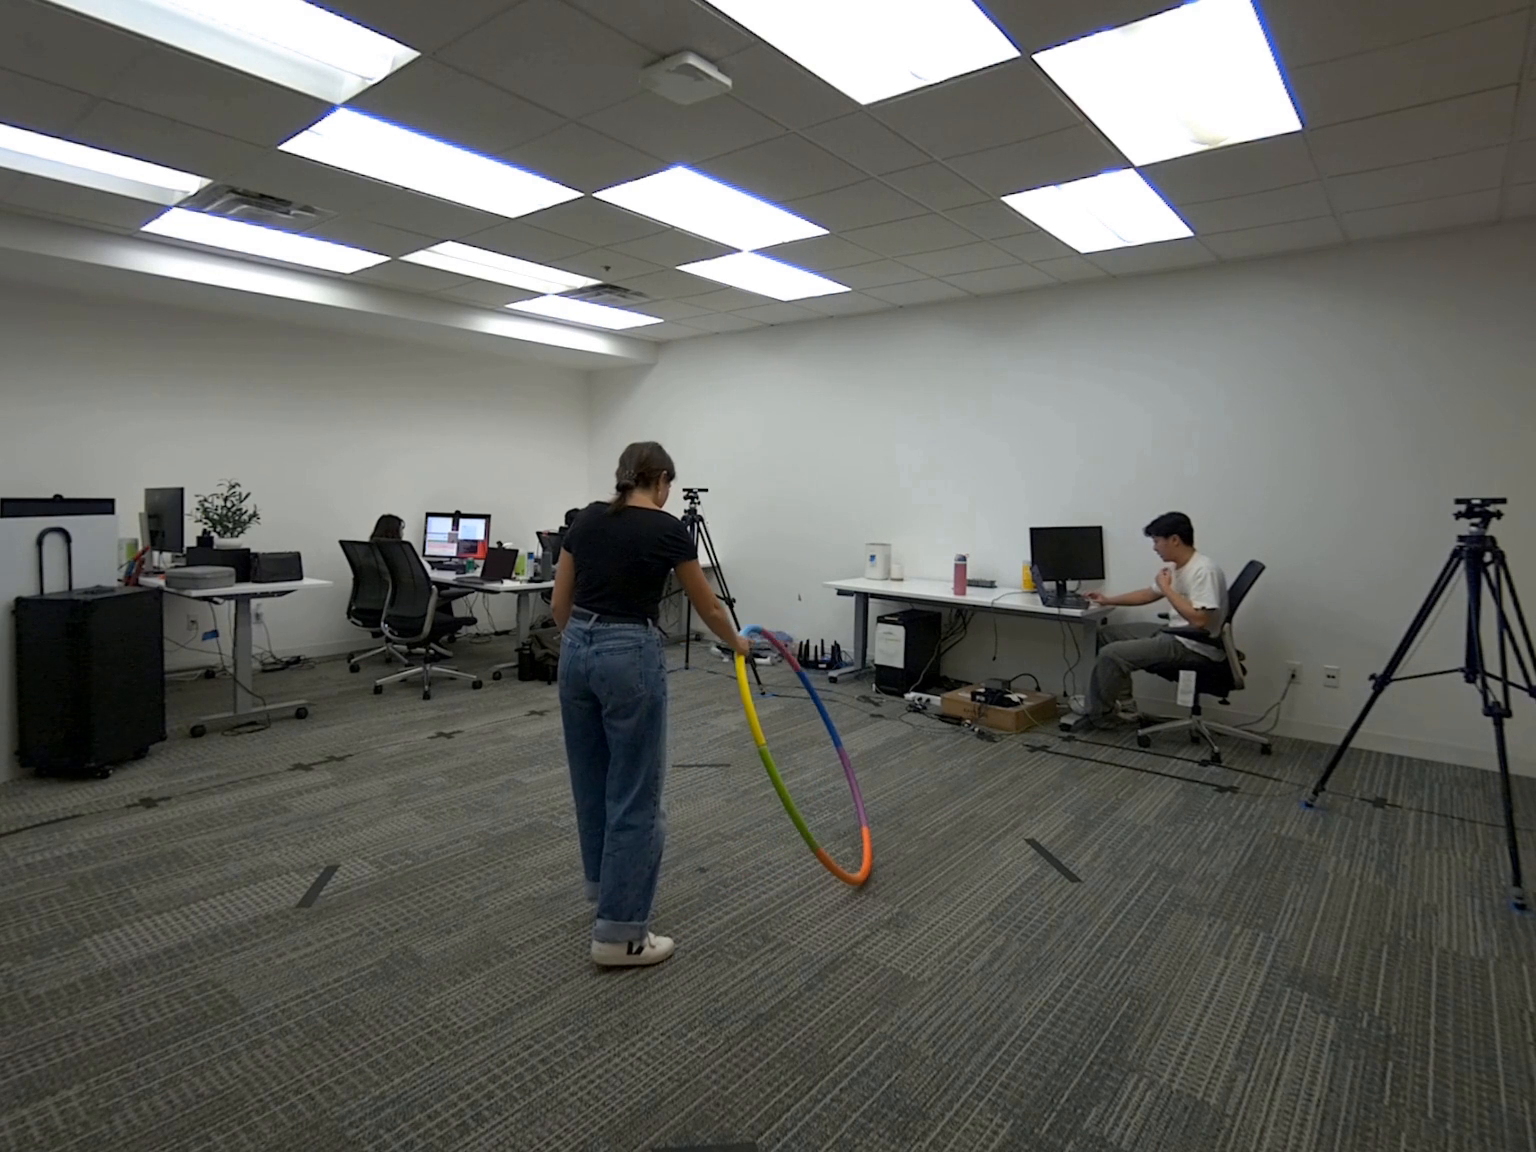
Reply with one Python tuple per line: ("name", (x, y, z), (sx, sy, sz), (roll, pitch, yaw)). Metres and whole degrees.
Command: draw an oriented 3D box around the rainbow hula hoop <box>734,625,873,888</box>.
("rainbow hula hoop", (0.128, 0.625, 3.130), (0.036, 0.985, 0.966), (-29, -4, 14))
